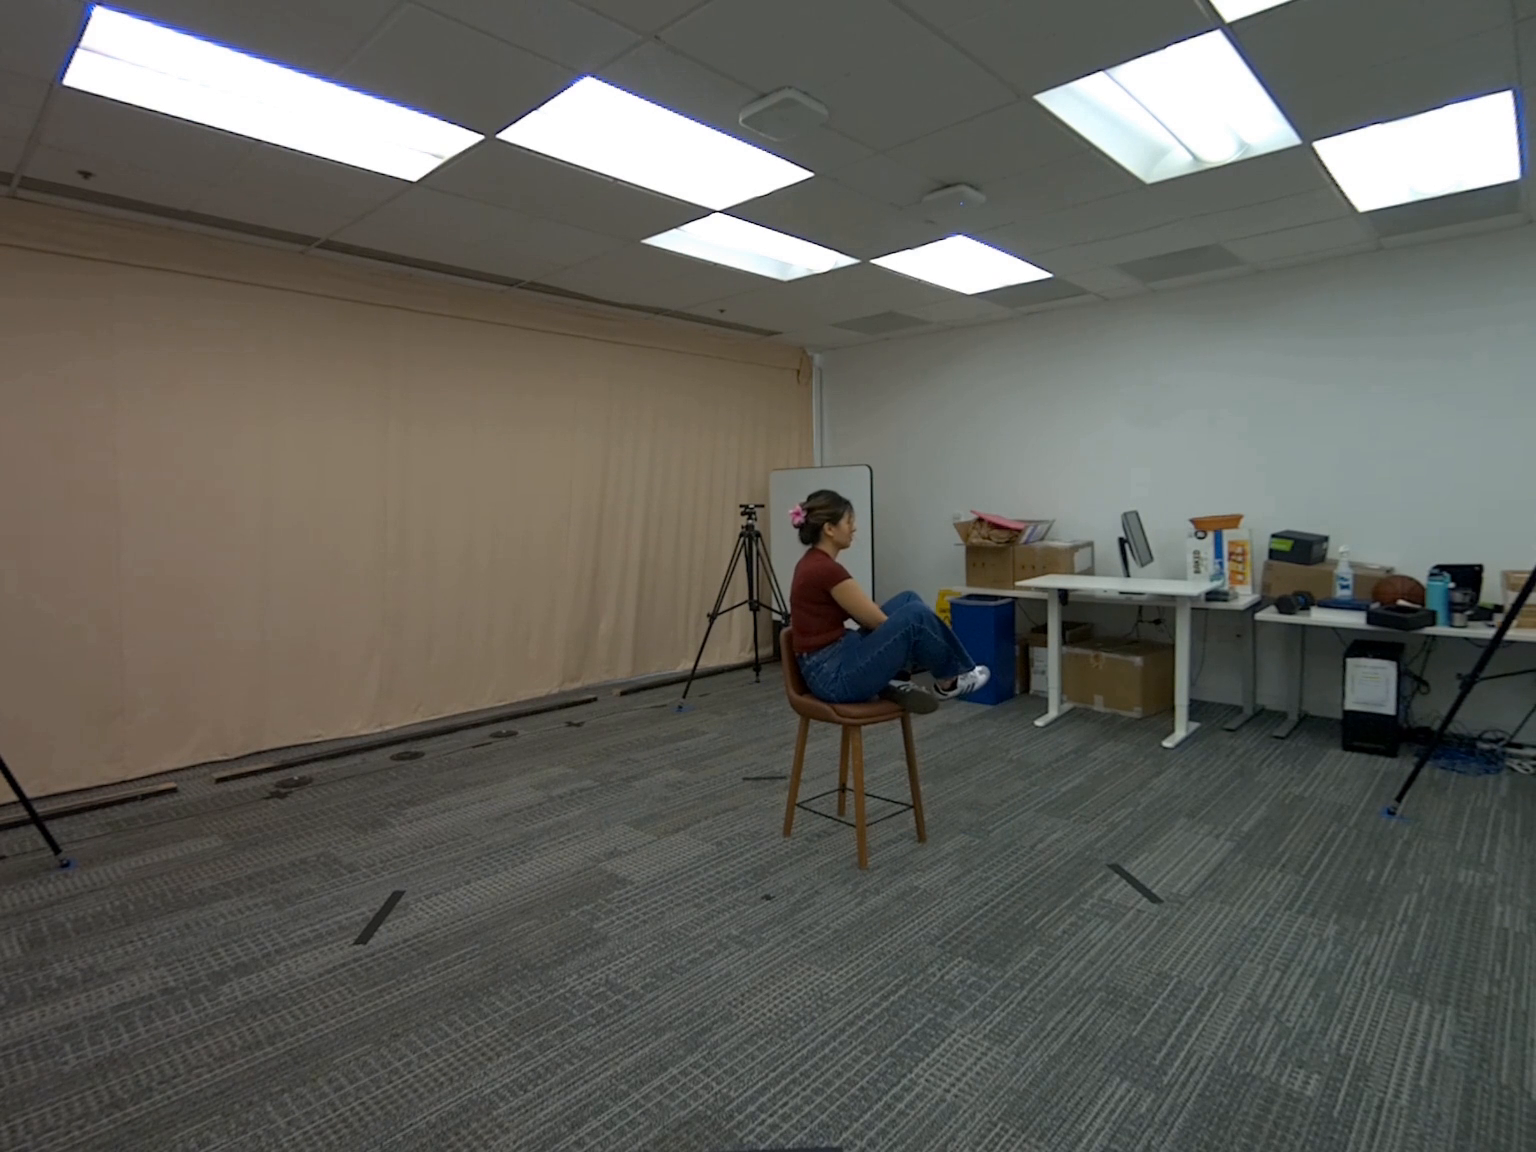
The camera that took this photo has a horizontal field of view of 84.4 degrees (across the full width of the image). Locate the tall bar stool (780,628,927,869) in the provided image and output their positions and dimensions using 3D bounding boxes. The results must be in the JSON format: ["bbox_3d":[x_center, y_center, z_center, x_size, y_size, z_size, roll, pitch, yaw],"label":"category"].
[{"bbox_3d":[0.345,0.656,3.481,0.442,0.889,0.482,-3,1,-43],"label":"tall bar stool"}]
